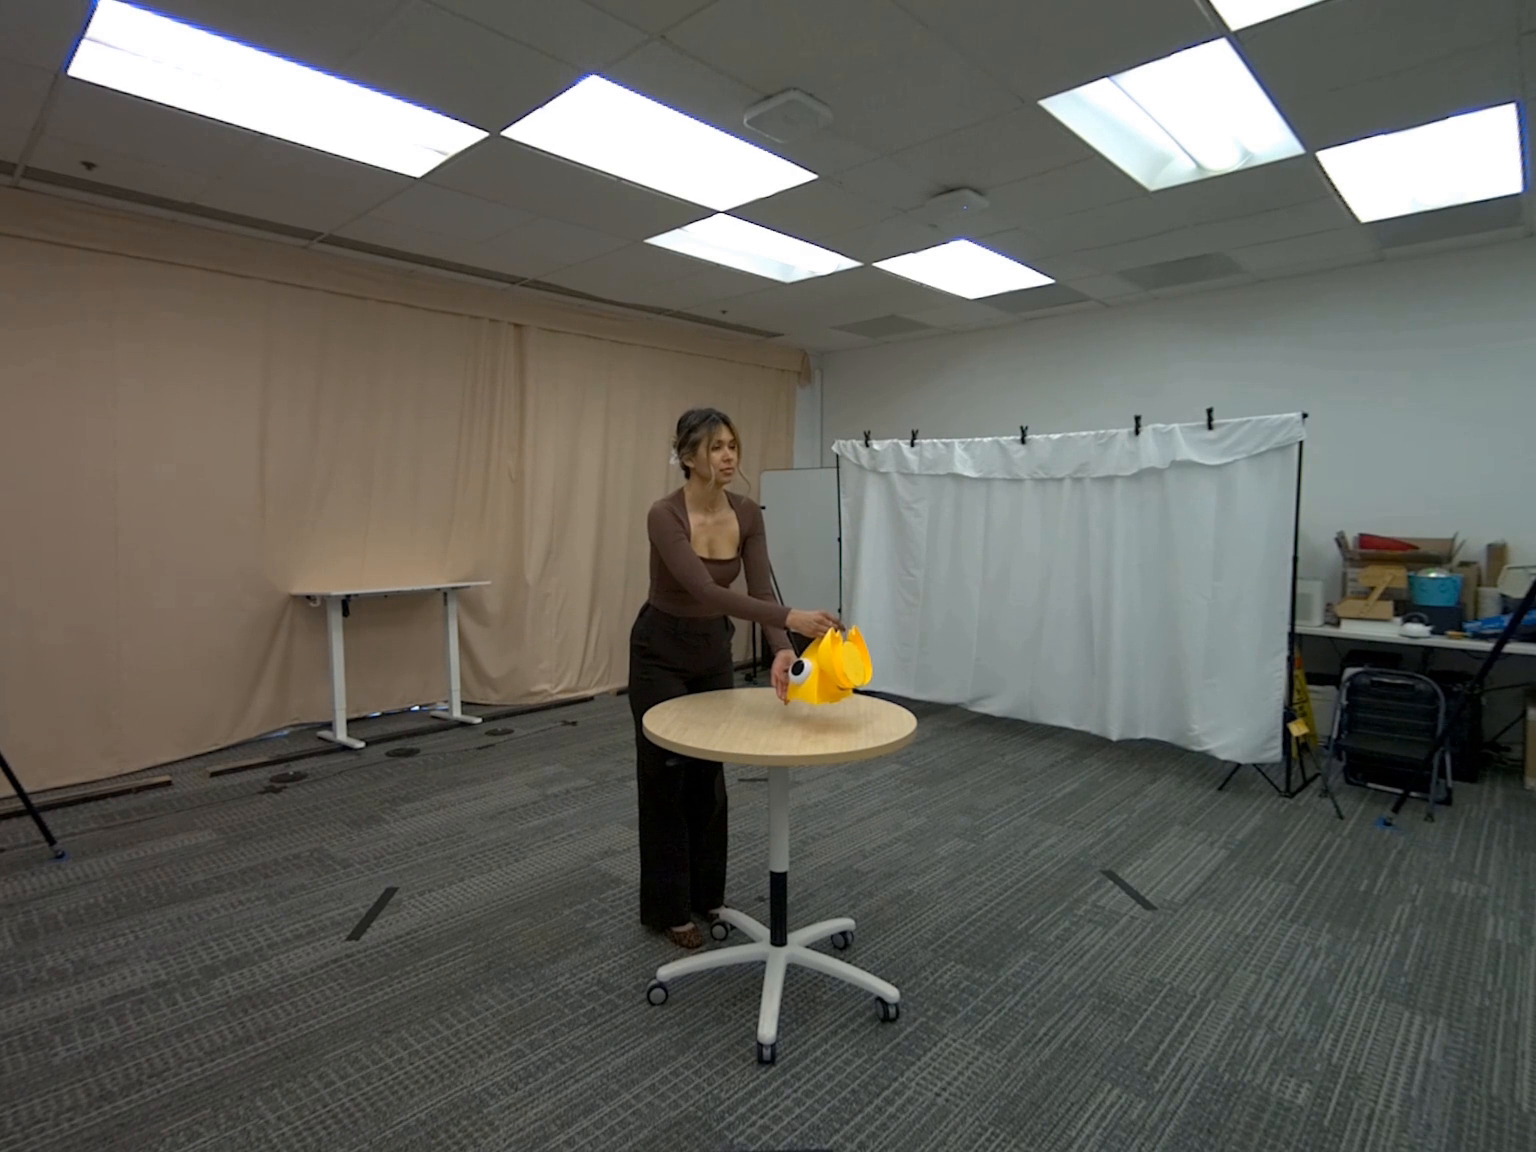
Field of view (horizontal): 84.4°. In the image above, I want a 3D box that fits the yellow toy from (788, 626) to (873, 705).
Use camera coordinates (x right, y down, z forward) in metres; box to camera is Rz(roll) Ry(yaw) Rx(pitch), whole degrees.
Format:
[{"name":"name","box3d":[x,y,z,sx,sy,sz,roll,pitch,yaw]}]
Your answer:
[{"name":"yellow toy","box3d":[0.136,0.255,2.267,0.236,0.195,0.198,-21,-11,33]}]
